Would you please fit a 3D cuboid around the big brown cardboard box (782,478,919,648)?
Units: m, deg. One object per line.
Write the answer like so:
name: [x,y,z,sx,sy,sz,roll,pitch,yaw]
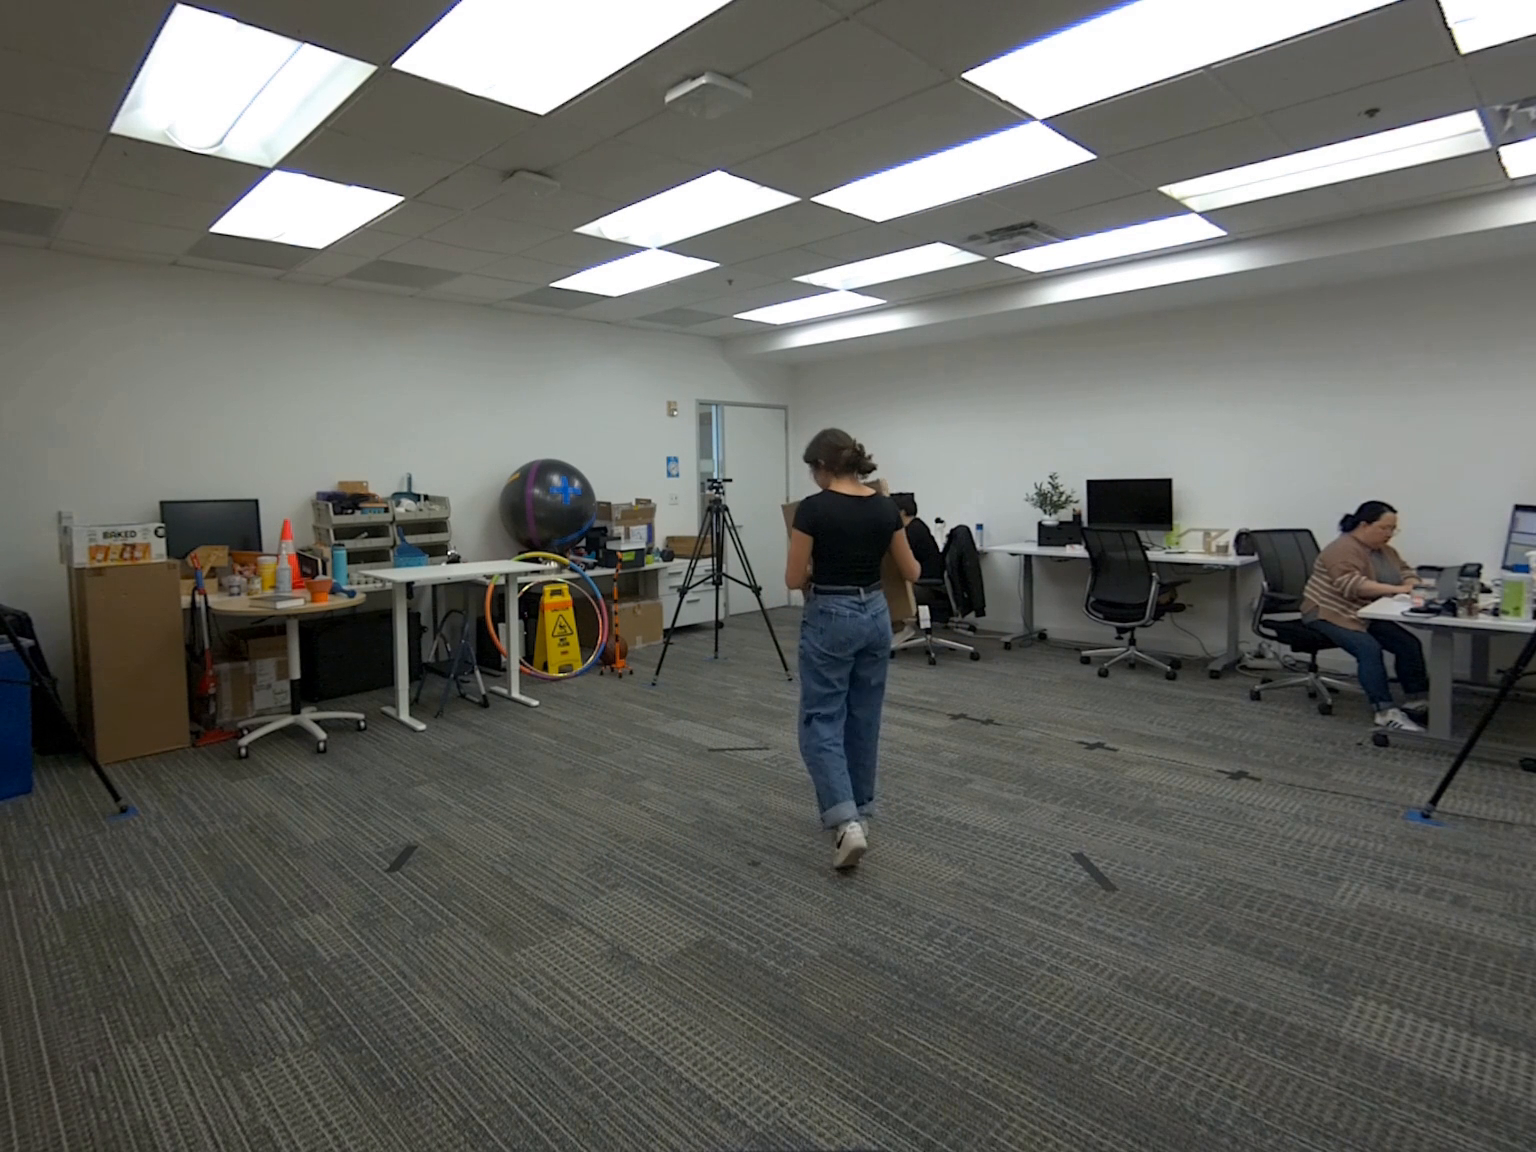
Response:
big brown cardboard box: [0.337,-0.080,3.520,0.423,0.590,0.230,-13,-1,17]
